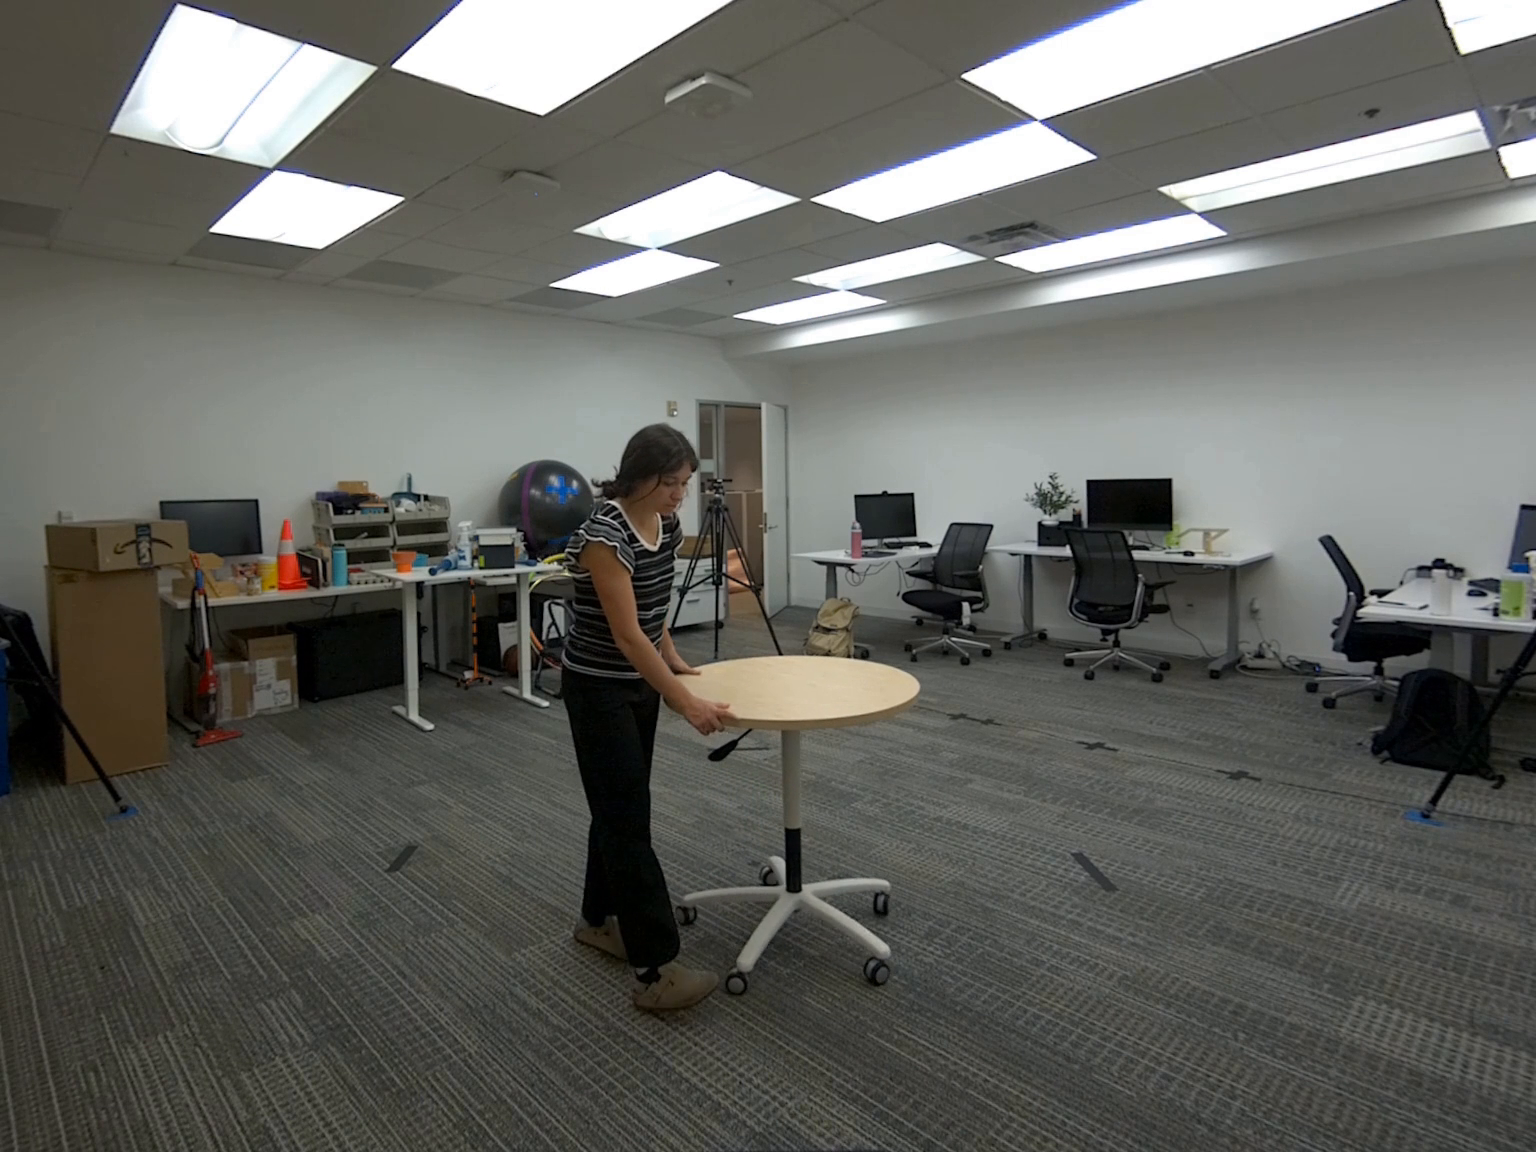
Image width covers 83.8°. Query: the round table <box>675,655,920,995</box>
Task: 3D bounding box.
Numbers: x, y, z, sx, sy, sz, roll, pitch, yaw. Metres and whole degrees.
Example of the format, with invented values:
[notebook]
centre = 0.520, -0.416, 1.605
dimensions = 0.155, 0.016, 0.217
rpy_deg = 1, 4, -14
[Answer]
[round table]
centre = 0.078, 0.714, 2.602
dimensions = 0.763, 0.790, 0.768
rpy_deg = -2, 6, -2
